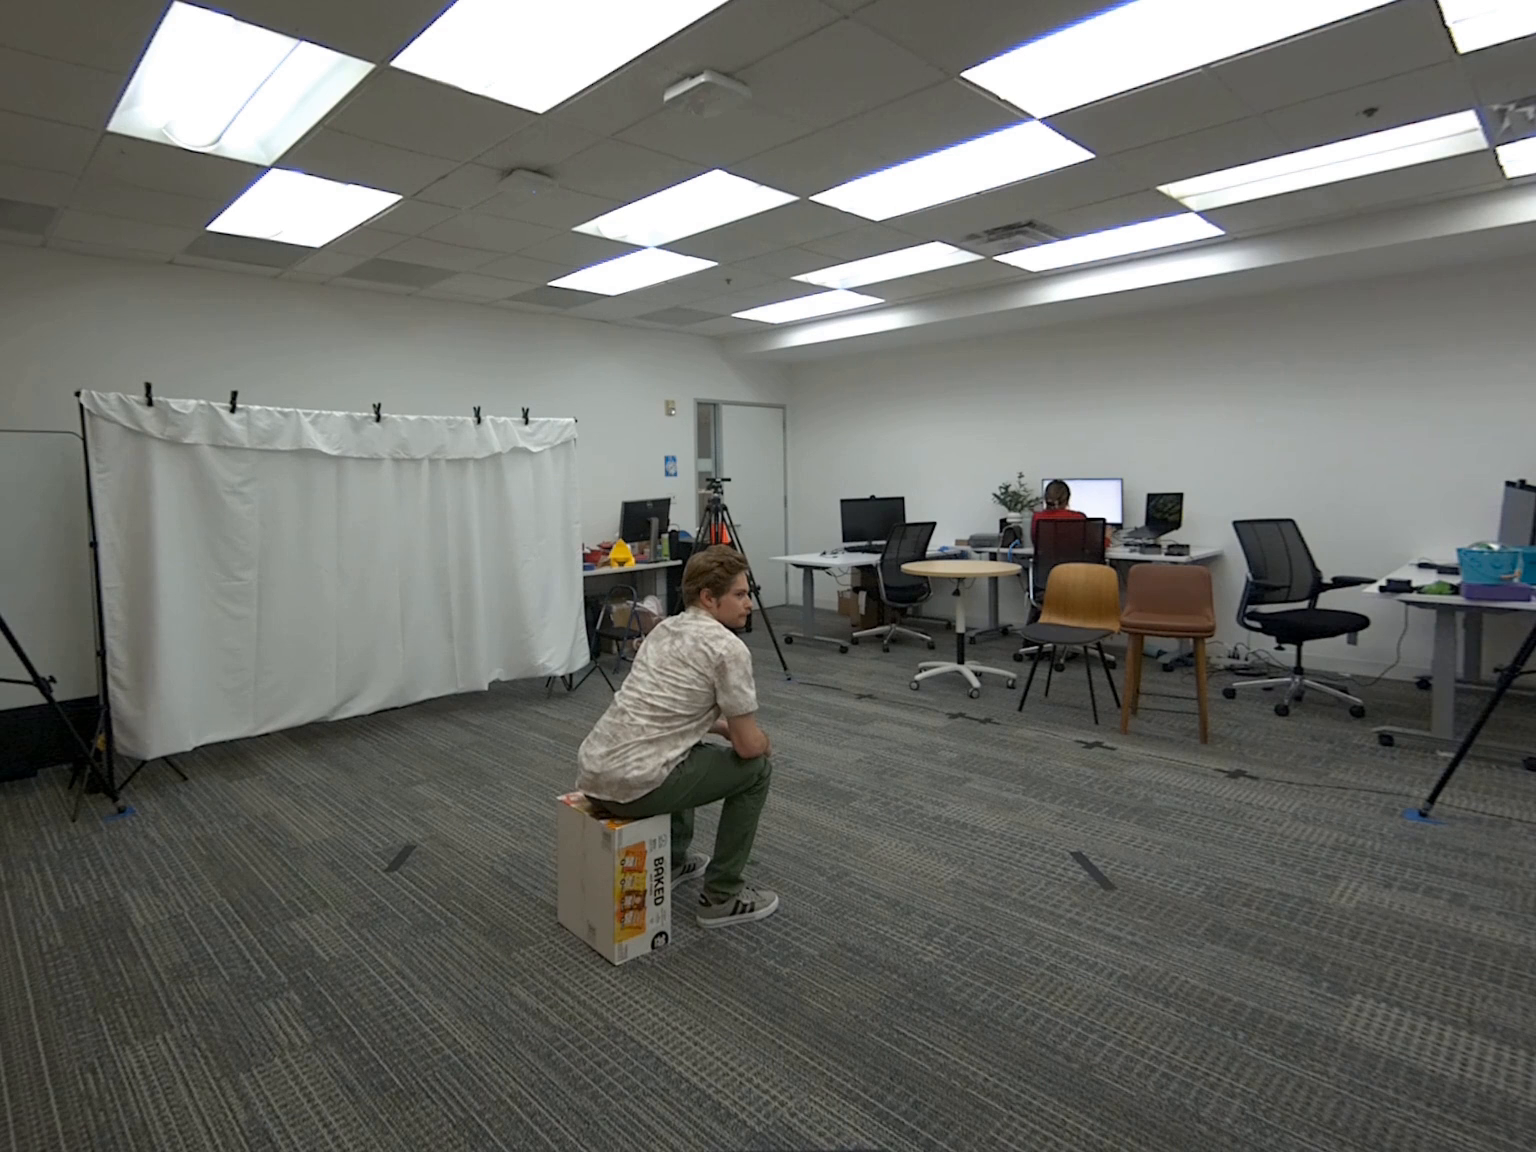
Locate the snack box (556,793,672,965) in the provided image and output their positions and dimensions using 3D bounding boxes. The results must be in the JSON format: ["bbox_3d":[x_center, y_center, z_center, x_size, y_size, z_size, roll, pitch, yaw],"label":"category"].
[{"bbox_3d":[-0.480,0.906,2.640,0.200,0.404,0.351,-3,5,-42],"label":"snack box"}]
